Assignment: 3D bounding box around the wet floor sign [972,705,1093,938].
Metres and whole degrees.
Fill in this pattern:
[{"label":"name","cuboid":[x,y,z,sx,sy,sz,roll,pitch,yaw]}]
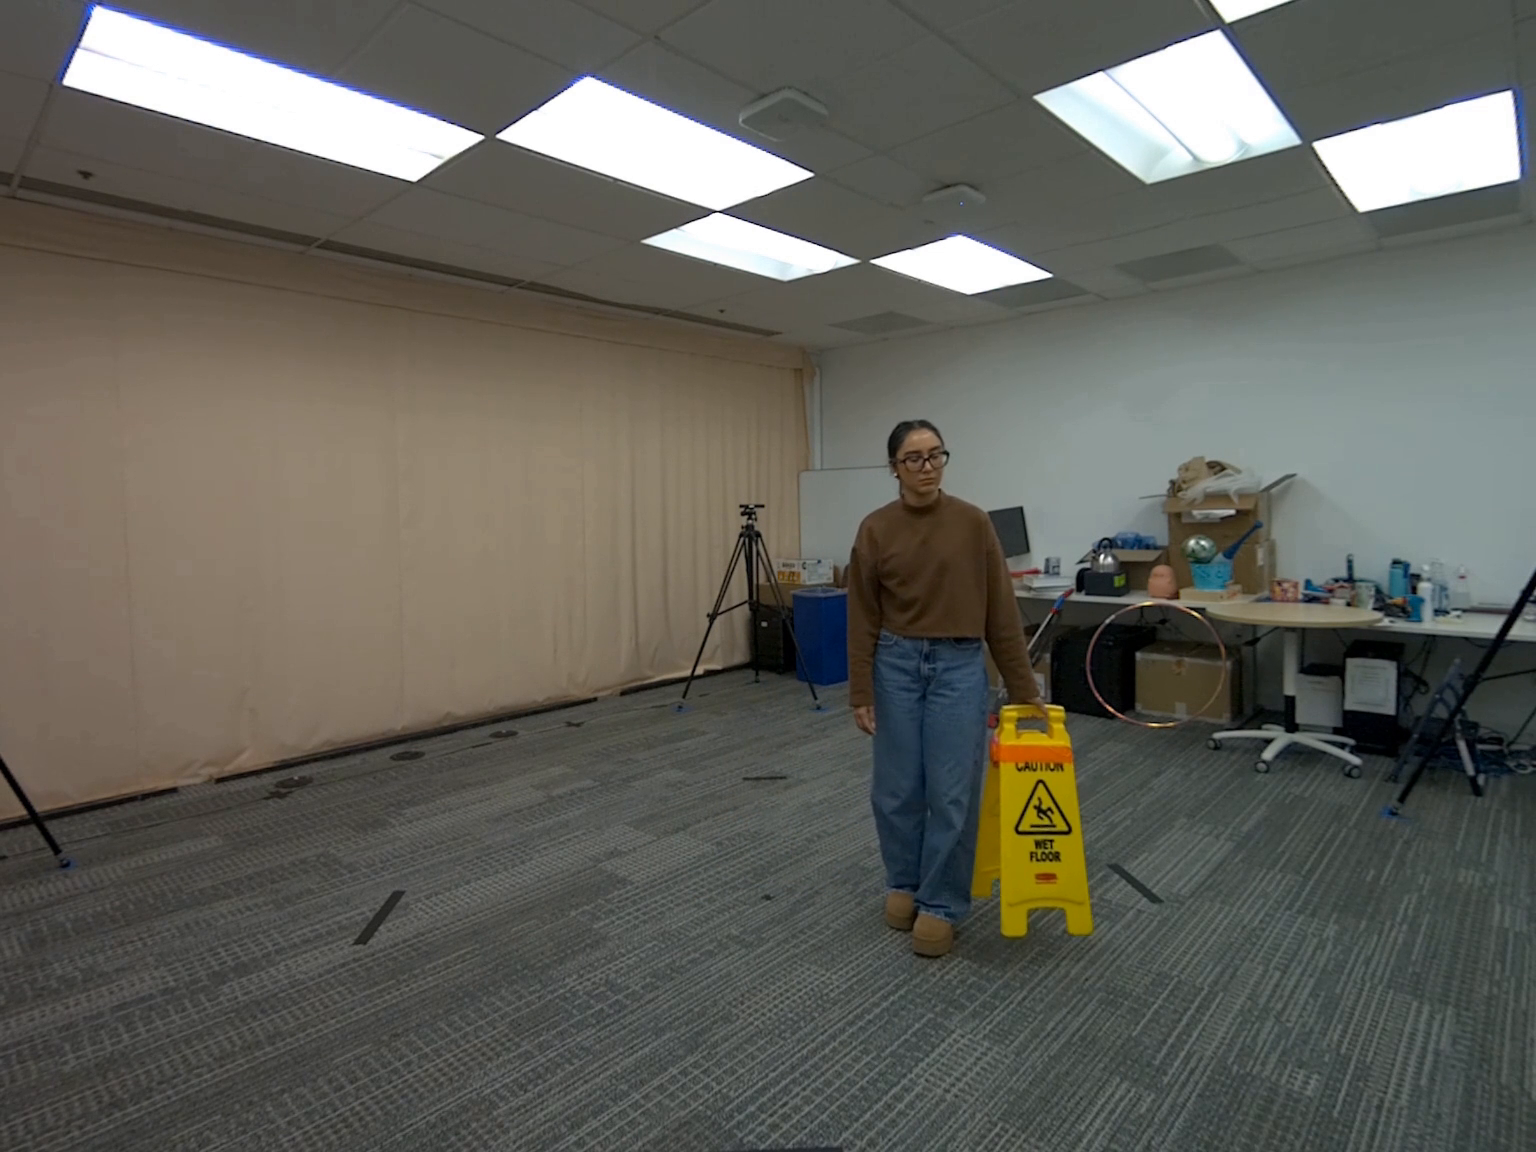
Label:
[{"label":"wet floor sign","cuboid":[0.814,0.727,2.590,0.280,0.646,0.291,2,0,-6]}]
